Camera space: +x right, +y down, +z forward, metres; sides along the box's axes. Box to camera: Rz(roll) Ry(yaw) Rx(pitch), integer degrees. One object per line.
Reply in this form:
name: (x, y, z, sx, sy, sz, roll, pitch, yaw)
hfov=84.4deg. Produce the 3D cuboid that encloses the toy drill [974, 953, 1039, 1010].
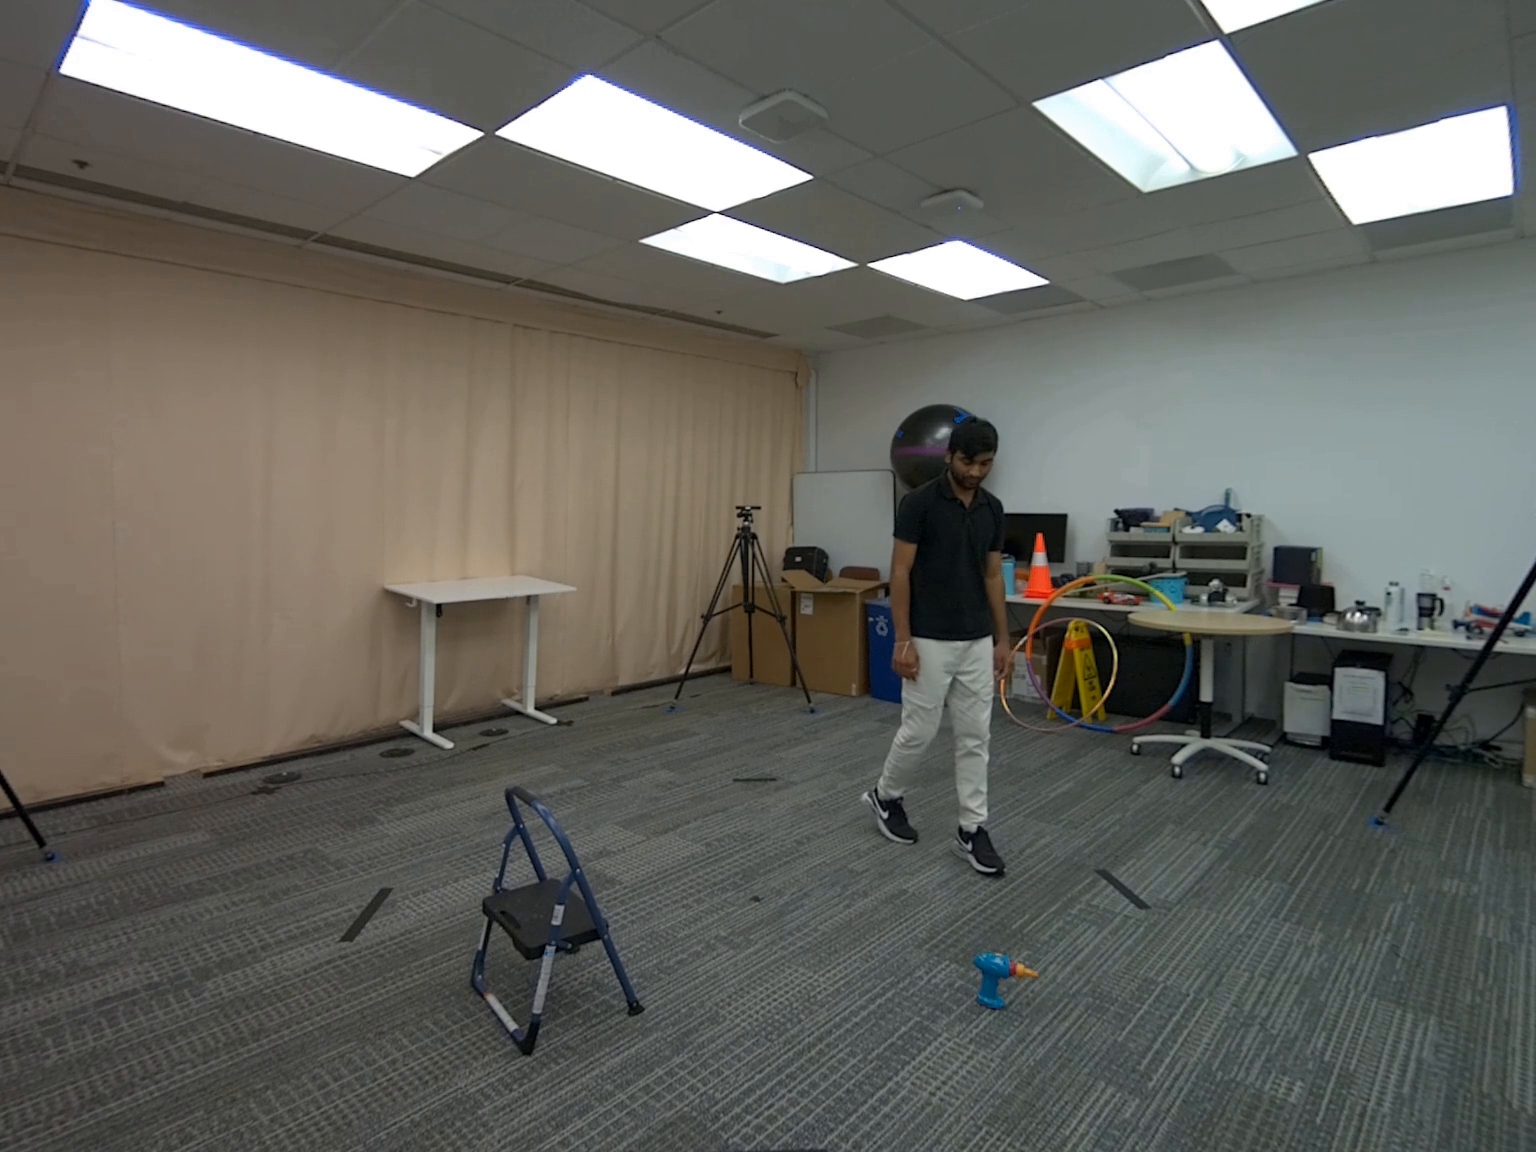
toy drill: (0.667, 1.125, 2.333, 0.173, 0.146, 0.060, 1, 3, 19)
